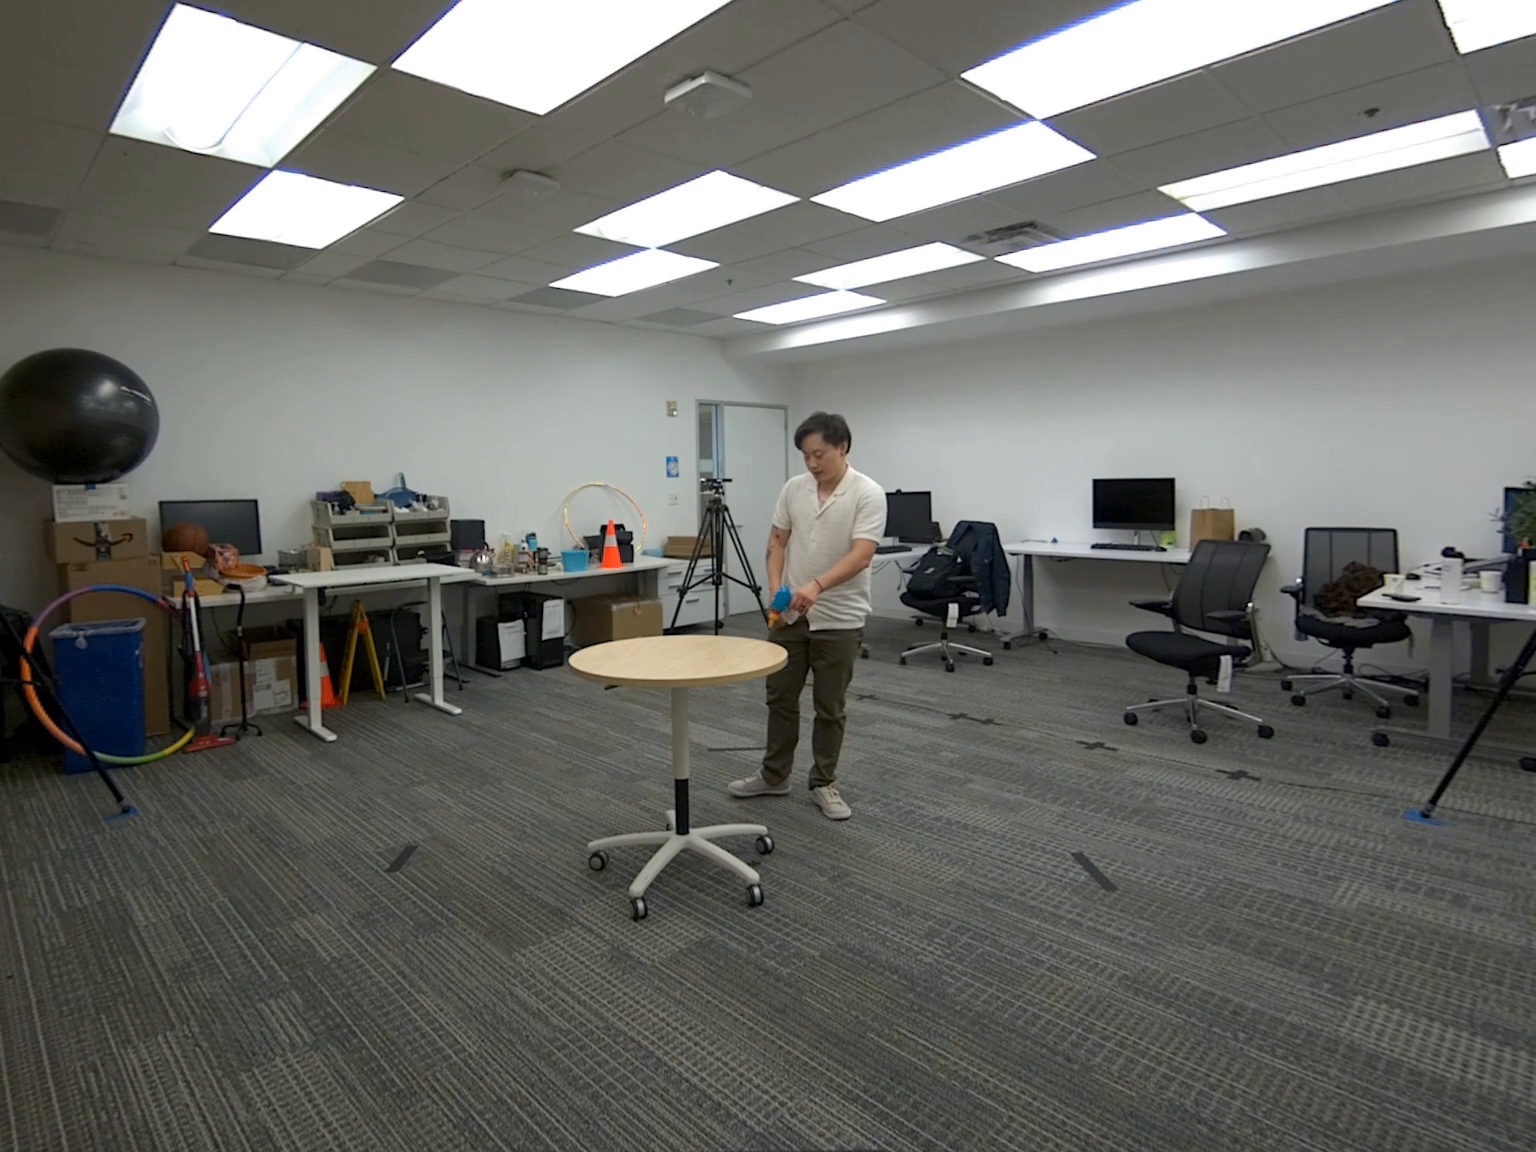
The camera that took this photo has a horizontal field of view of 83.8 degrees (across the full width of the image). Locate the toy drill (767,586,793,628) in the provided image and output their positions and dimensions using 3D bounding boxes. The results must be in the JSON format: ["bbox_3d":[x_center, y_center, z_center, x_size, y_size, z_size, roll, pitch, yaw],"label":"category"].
[{"bbox_3d":[0.079,0.129,3.229,0.142,0.170,0.063,19,0,-22],"label":"toy drill"}]
